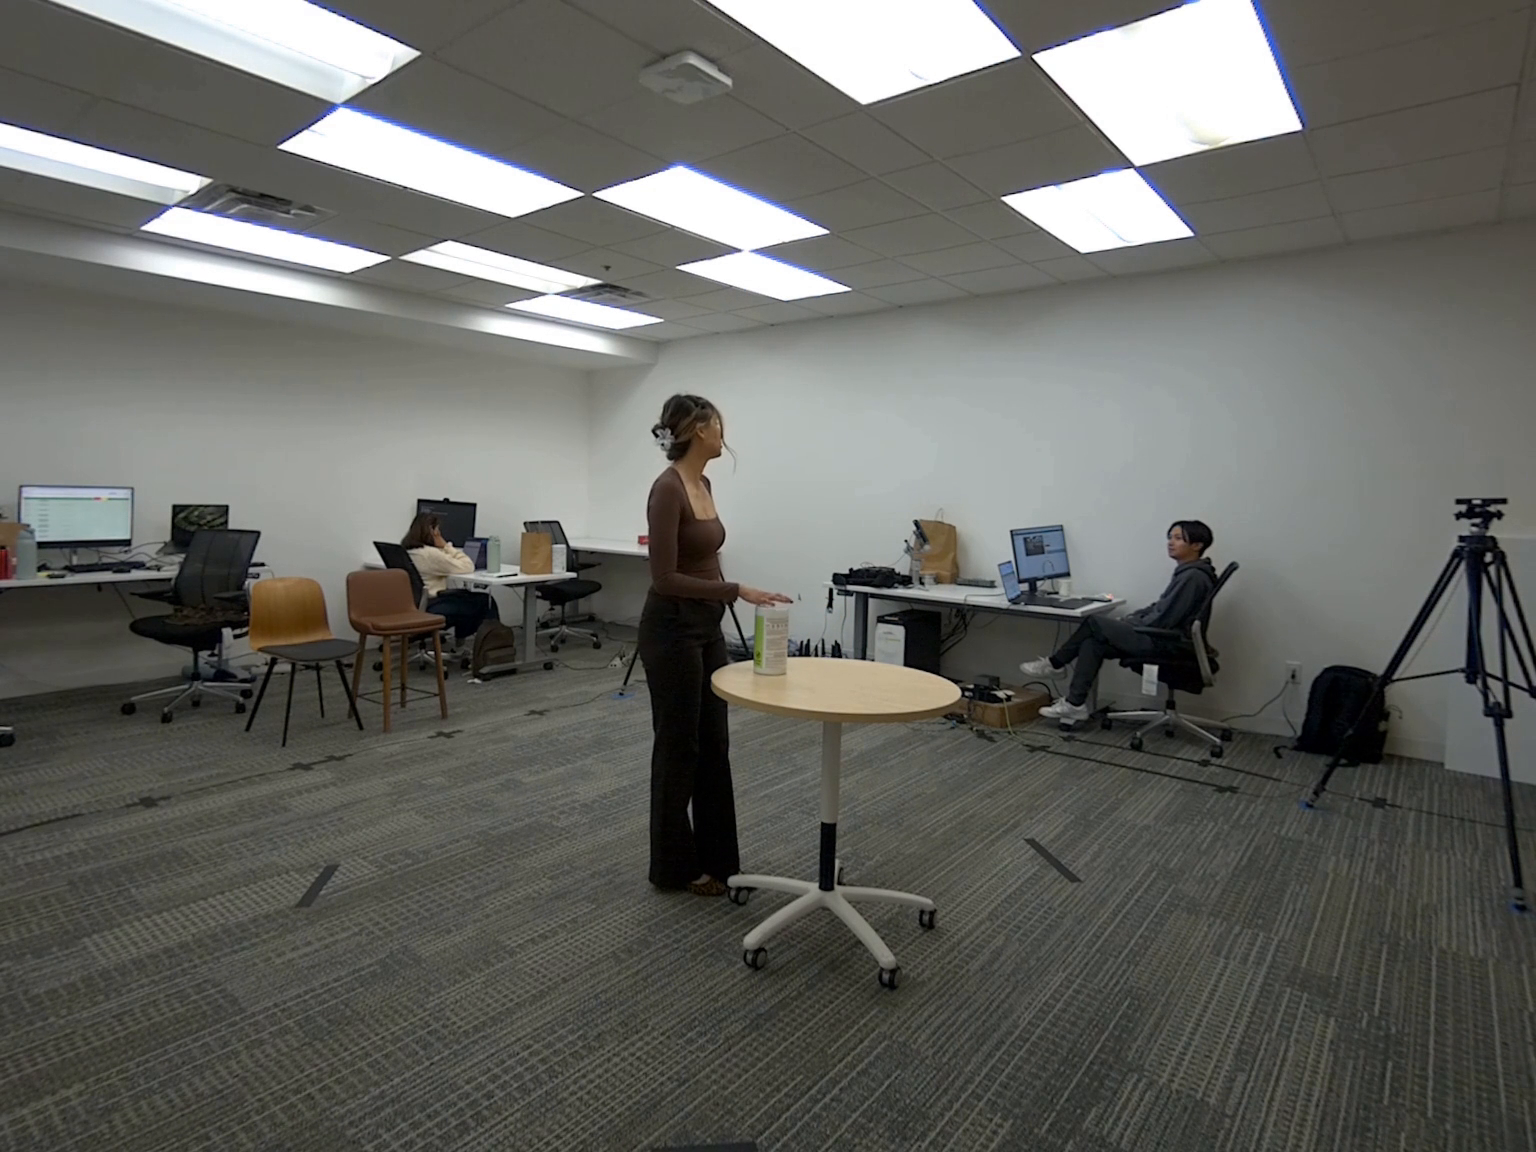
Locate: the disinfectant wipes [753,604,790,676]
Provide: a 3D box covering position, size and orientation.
[{"bbox_3d":[0.002,0.205,2.753,0.118,0.217,0.118,1,2,-2],"label":"disinfectant wipes"}]
